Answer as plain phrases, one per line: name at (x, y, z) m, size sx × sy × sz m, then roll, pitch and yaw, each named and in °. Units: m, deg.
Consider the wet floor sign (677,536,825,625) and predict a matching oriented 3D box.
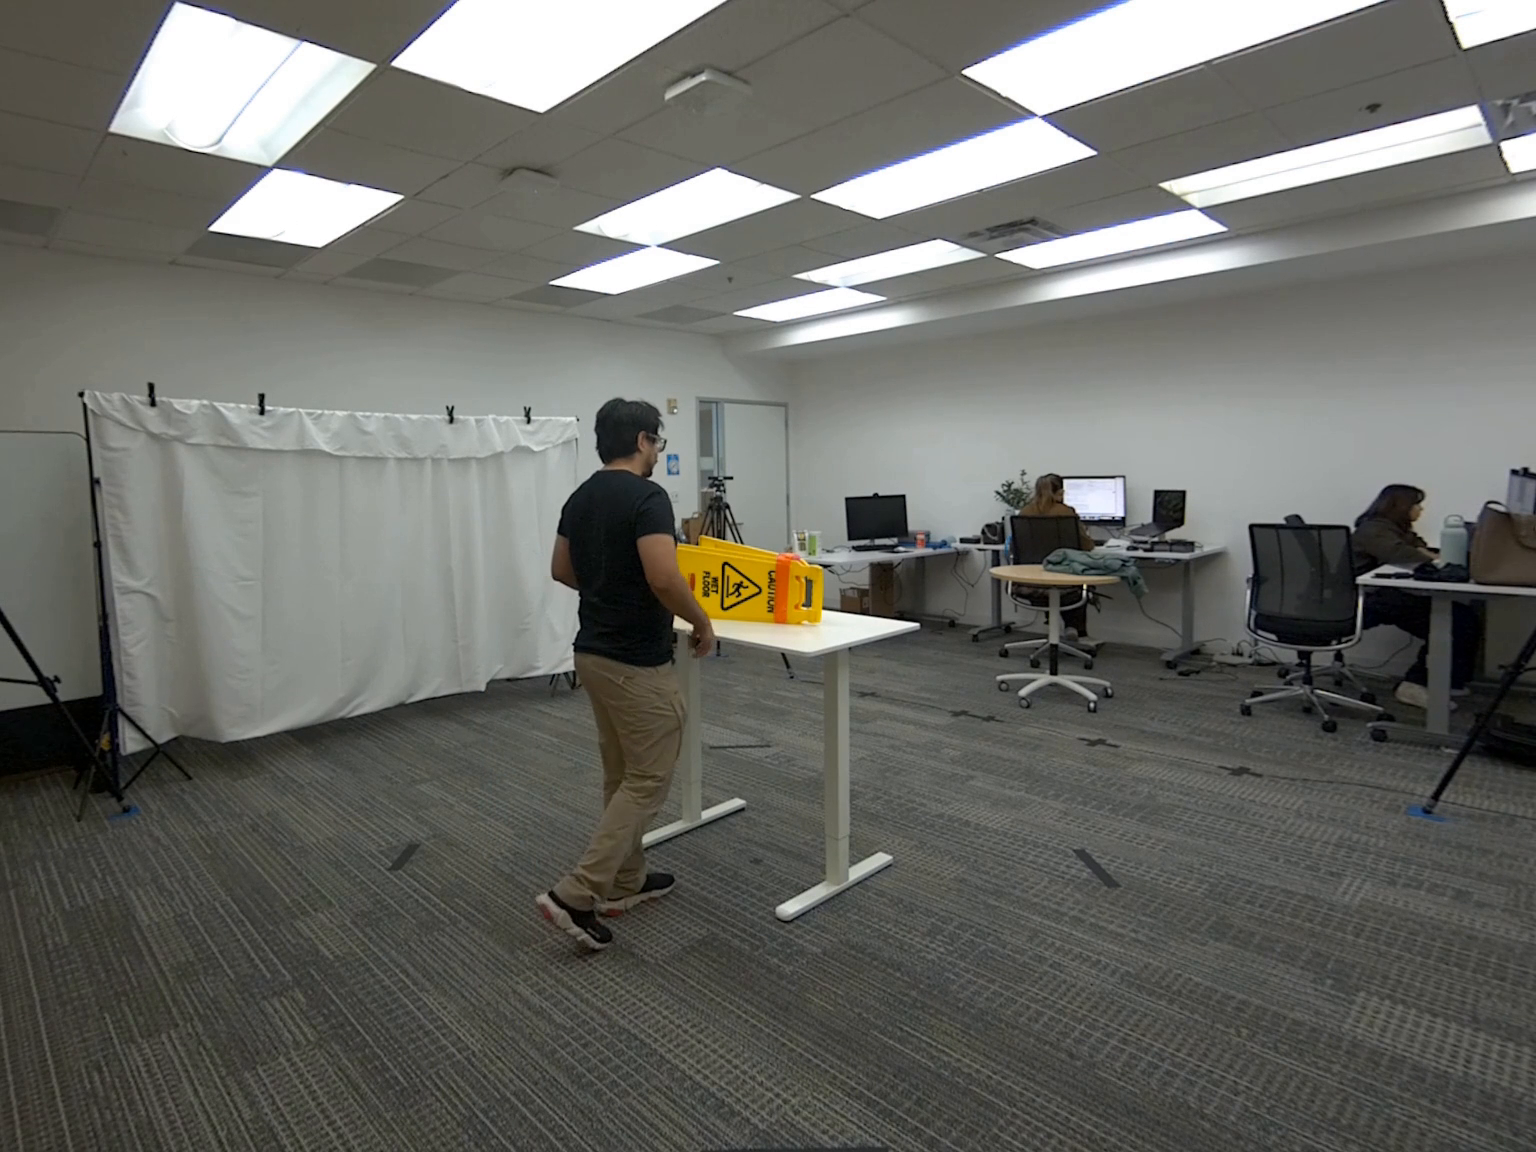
wet floor sign at (-0.079, 0.030, 3.112) m, size 0.666 × 0.280 × 0.283 m, roll 8°, pitch 9°, yaw 36°
